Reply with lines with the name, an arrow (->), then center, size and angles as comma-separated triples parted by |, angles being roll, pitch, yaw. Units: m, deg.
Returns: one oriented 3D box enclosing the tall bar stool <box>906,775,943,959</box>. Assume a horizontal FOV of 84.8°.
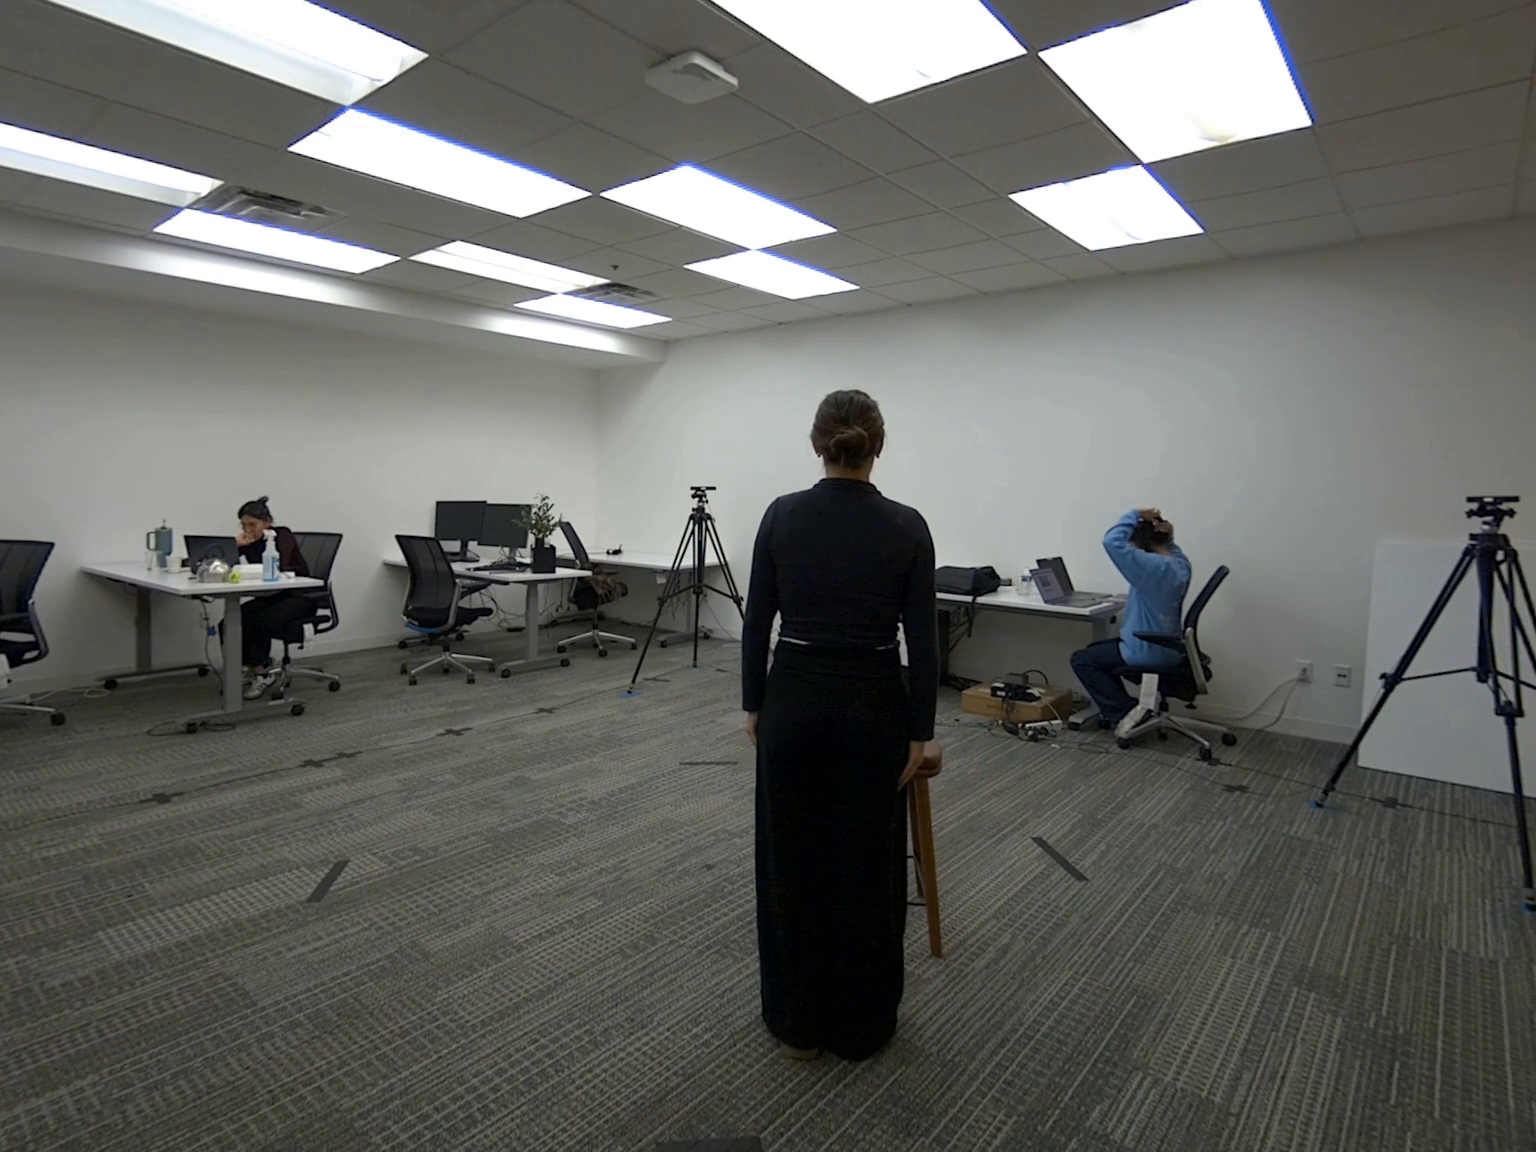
tall bar stool -> 0.312, 0.676, 2.744 | 0.471, 0.887, 0.454 | 1, 3, 6
